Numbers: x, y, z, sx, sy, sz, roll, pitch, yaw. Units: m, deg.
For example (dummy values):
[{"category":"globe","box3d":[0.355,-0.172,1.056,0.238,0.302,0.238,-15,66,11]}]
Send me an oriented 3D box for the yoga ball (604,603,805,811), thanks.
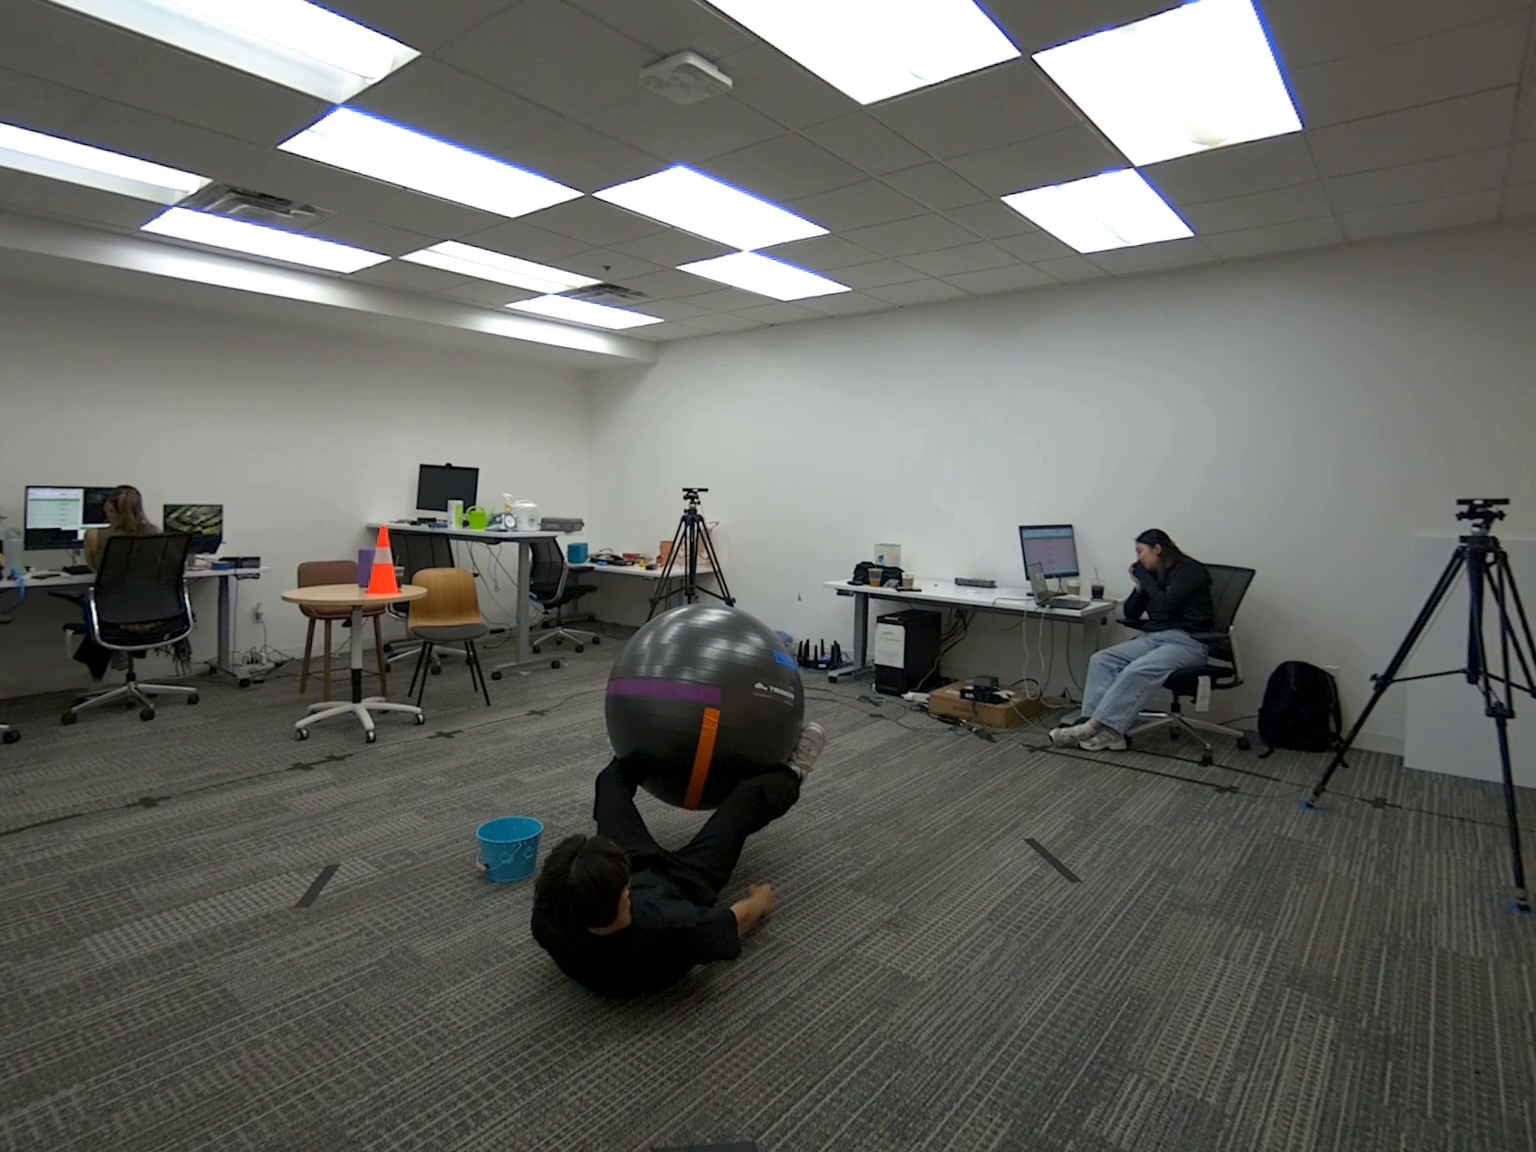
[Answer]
[{"category":"yoga ball","box3d":[-0.250,0.485,3.223,0.757,0.755,0.762,1,4,-2]}]
